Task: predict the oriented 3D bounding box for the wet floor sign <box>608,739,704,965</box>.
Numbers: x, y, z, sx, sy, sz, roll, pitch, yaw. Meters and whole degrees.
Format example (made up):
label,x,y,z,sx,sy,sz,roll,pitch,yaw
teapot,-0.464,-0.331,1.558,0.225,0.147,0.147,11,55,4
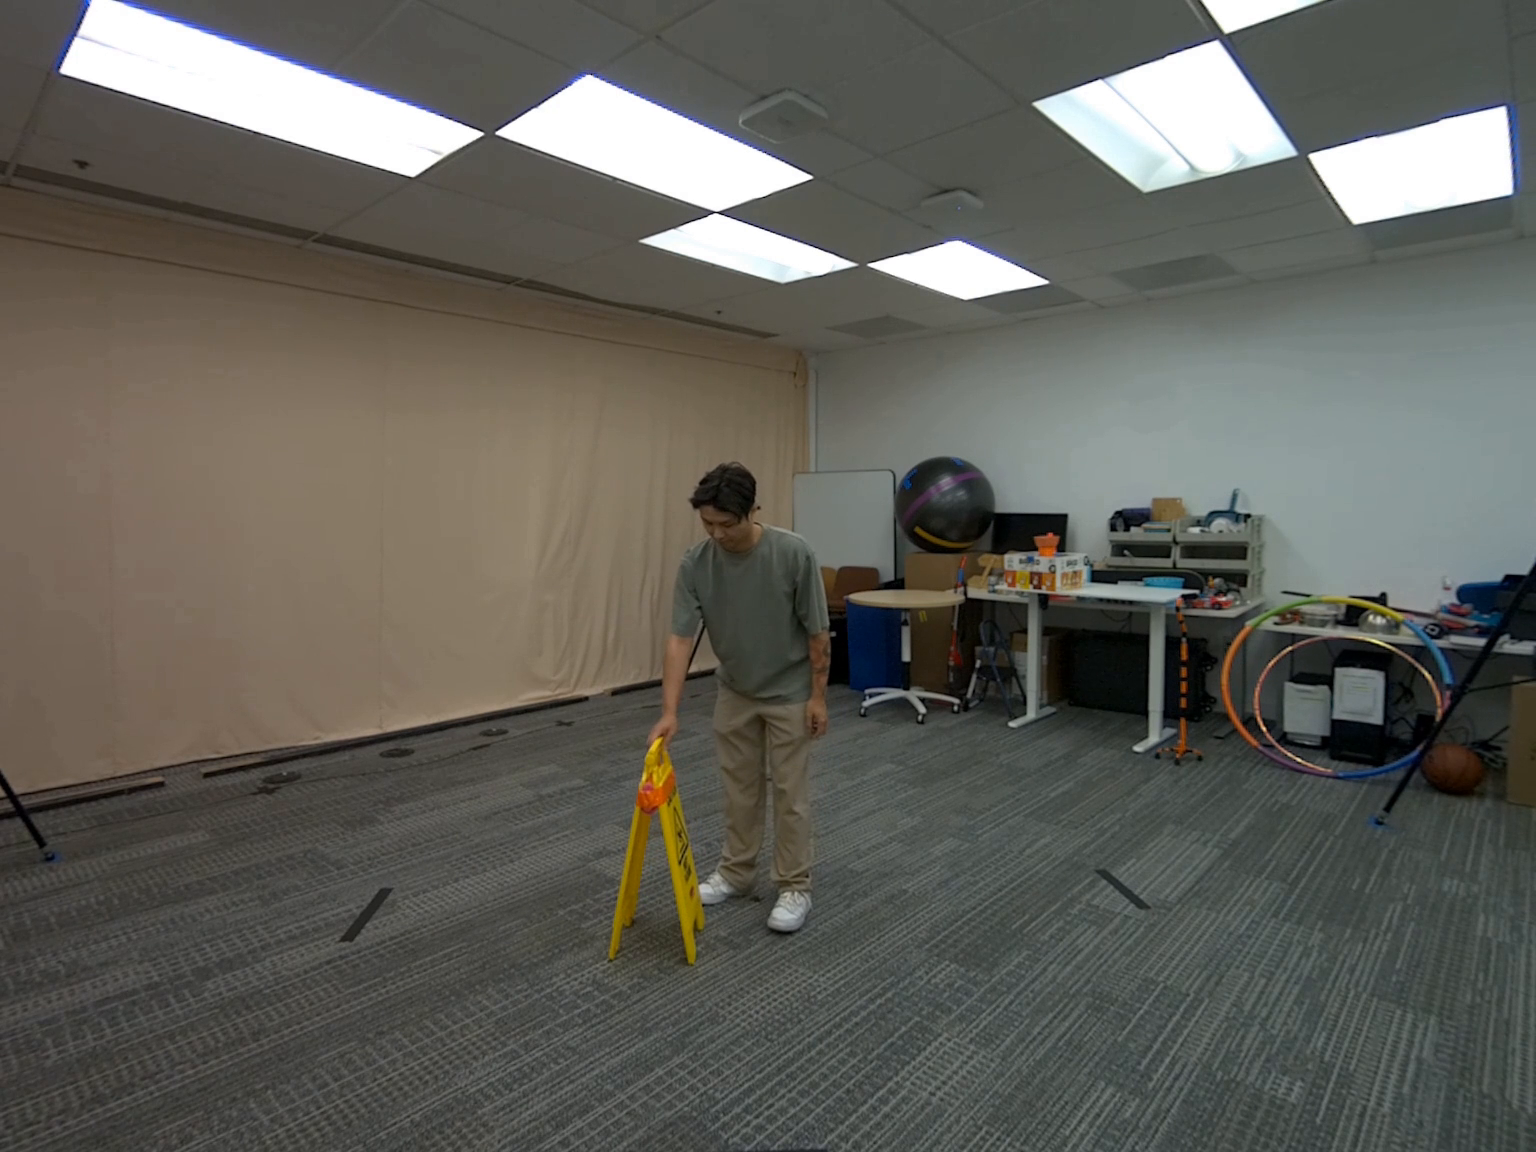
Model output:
label,x,y,z,sx,sy,sz,roll,pitch,yaw
wet floor sign,-0.349,0.861,2.669,0.292,0.644,0.281,0,5,5
